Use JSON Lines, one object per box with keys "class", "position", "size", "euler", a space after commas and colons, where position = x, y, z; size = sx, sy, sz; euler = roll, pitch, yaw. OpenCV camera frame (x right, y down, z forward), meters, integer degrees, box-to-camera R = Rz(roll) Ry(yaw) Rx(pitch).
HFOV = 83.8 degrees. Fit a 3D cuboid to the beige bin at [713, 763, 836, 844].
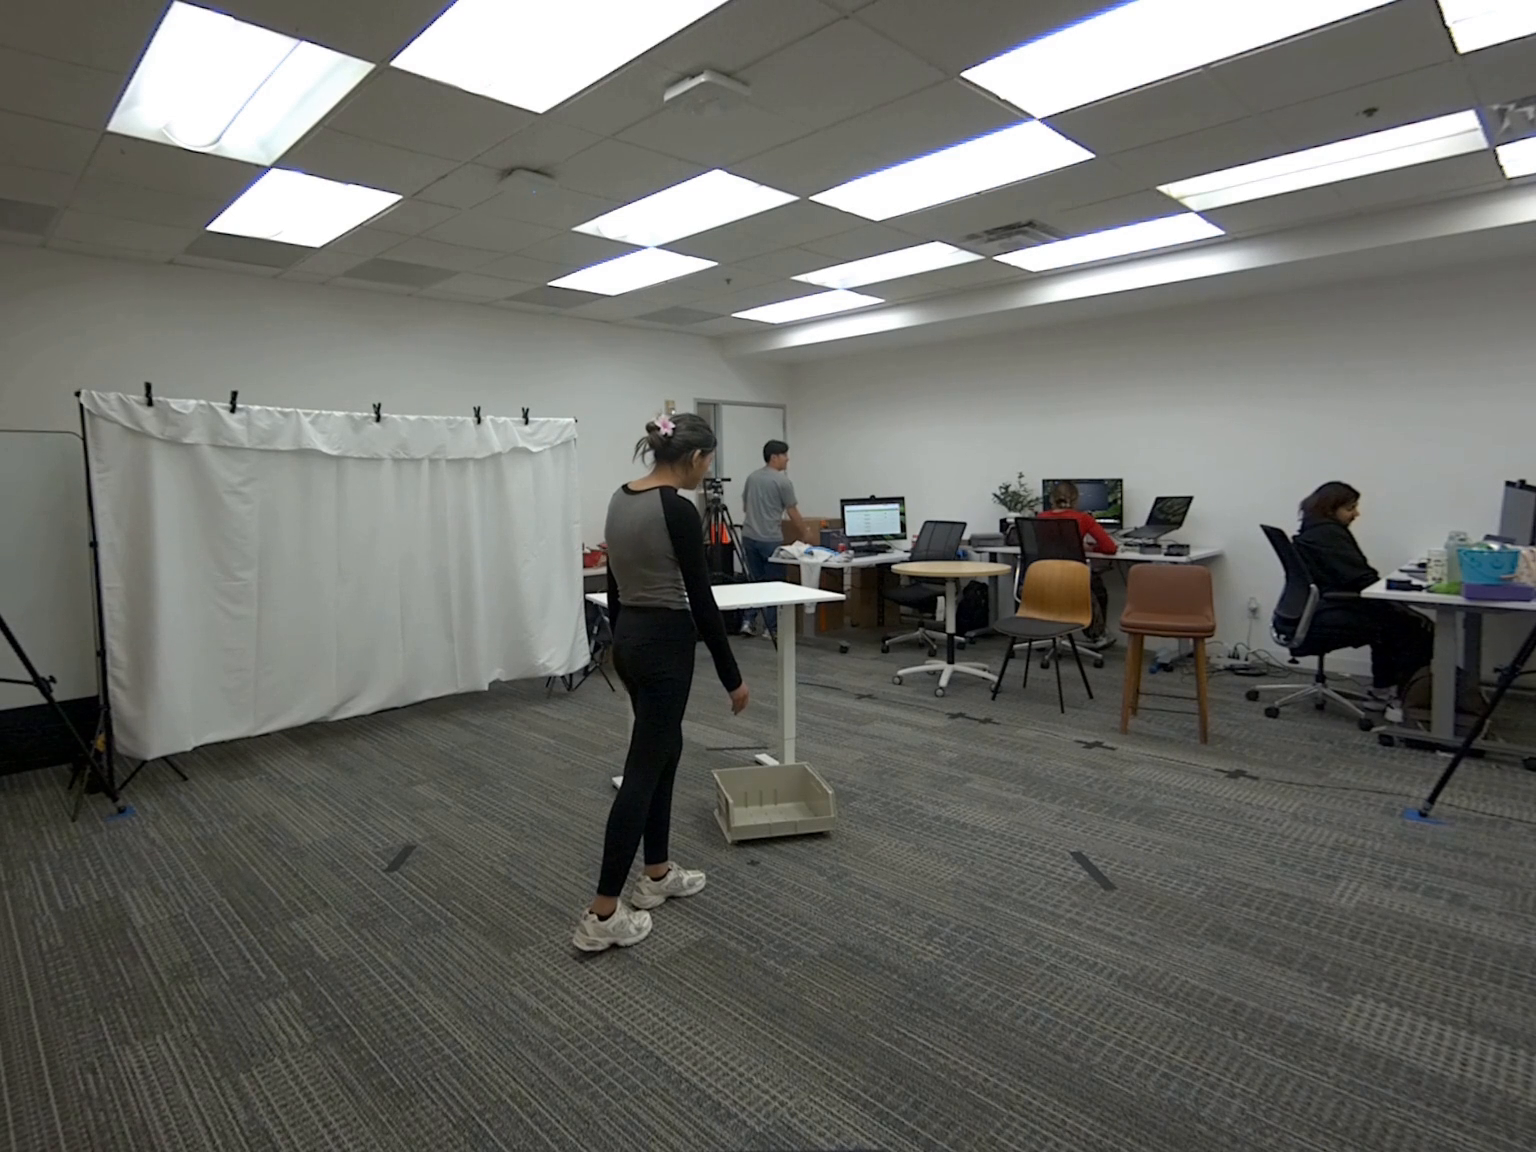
{"class": "beige bin", "position": [0.017, 0.913, 3.434], "size": [0.417, 0.188, 0.383], "euler": [-3, 6, -14]}
